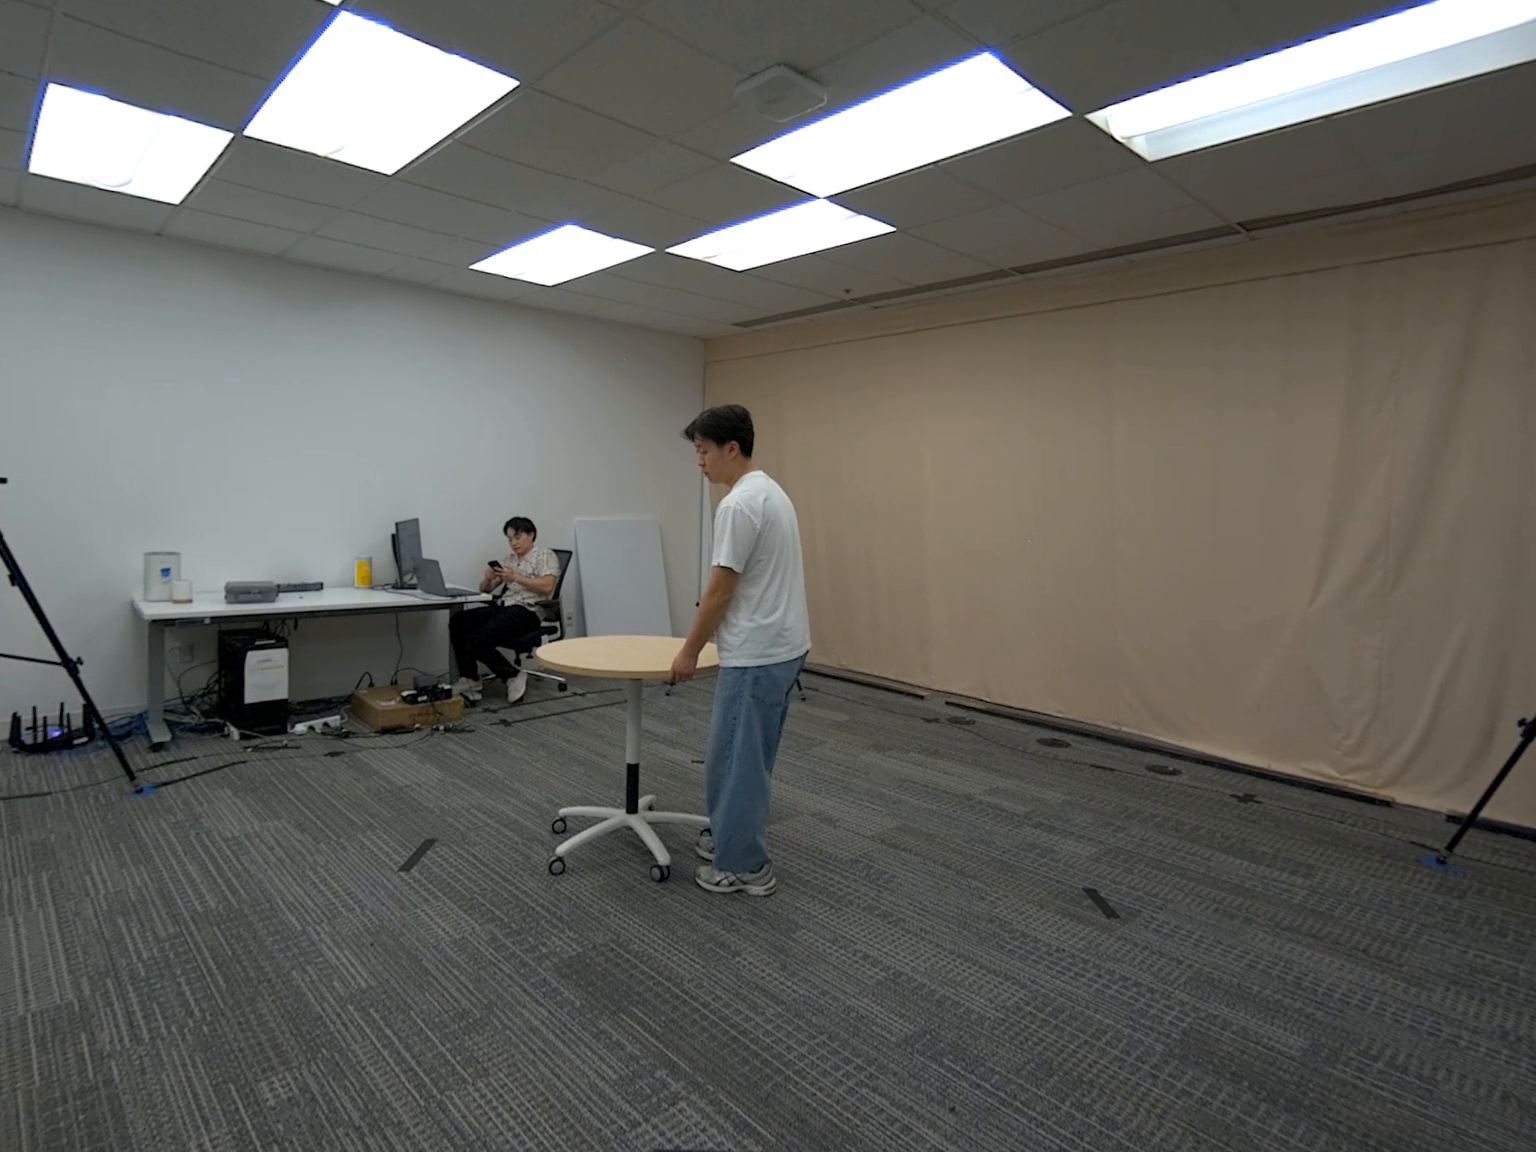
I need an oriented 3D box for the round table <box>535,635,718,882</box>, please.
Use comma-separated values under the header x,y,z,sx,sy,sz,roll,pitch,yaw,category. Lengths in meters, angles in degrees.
x,y,z,sx,sy,sz,roll,pitch,yaw,category
-0.542,0.689,3.317,0.763,0.792,0.766,2,3,-1,round table
